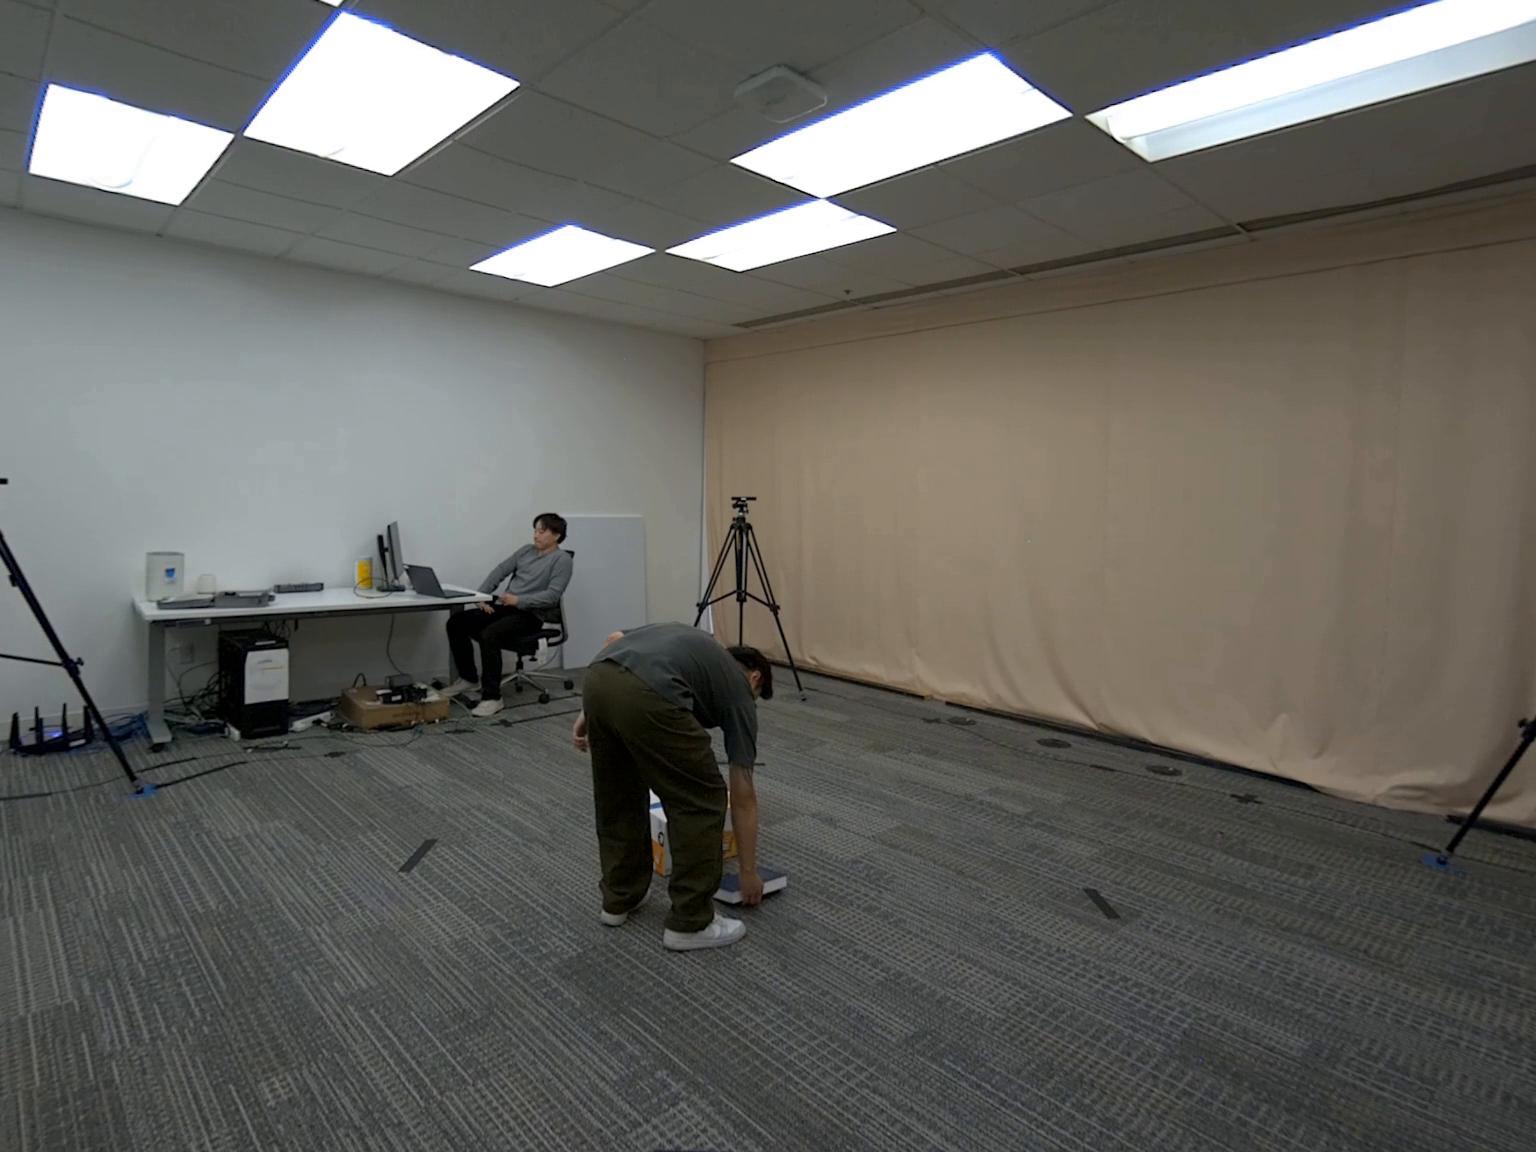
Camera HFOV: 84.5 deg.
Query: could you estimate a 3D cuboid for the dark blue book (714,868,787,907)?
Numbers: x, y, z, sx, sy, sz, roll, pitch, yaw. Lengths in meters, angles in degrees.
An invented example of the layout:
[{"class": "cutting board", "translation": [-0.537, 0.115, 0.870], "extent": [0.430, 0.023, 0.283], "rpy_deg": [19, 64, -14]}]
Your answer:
[{"class": "dark blue book", "translation": [-0.078, 1.090, 2.960], "extent": [0.240, 0.045, 0.166], "rpy_deg": [-4, -3, -35]}]
